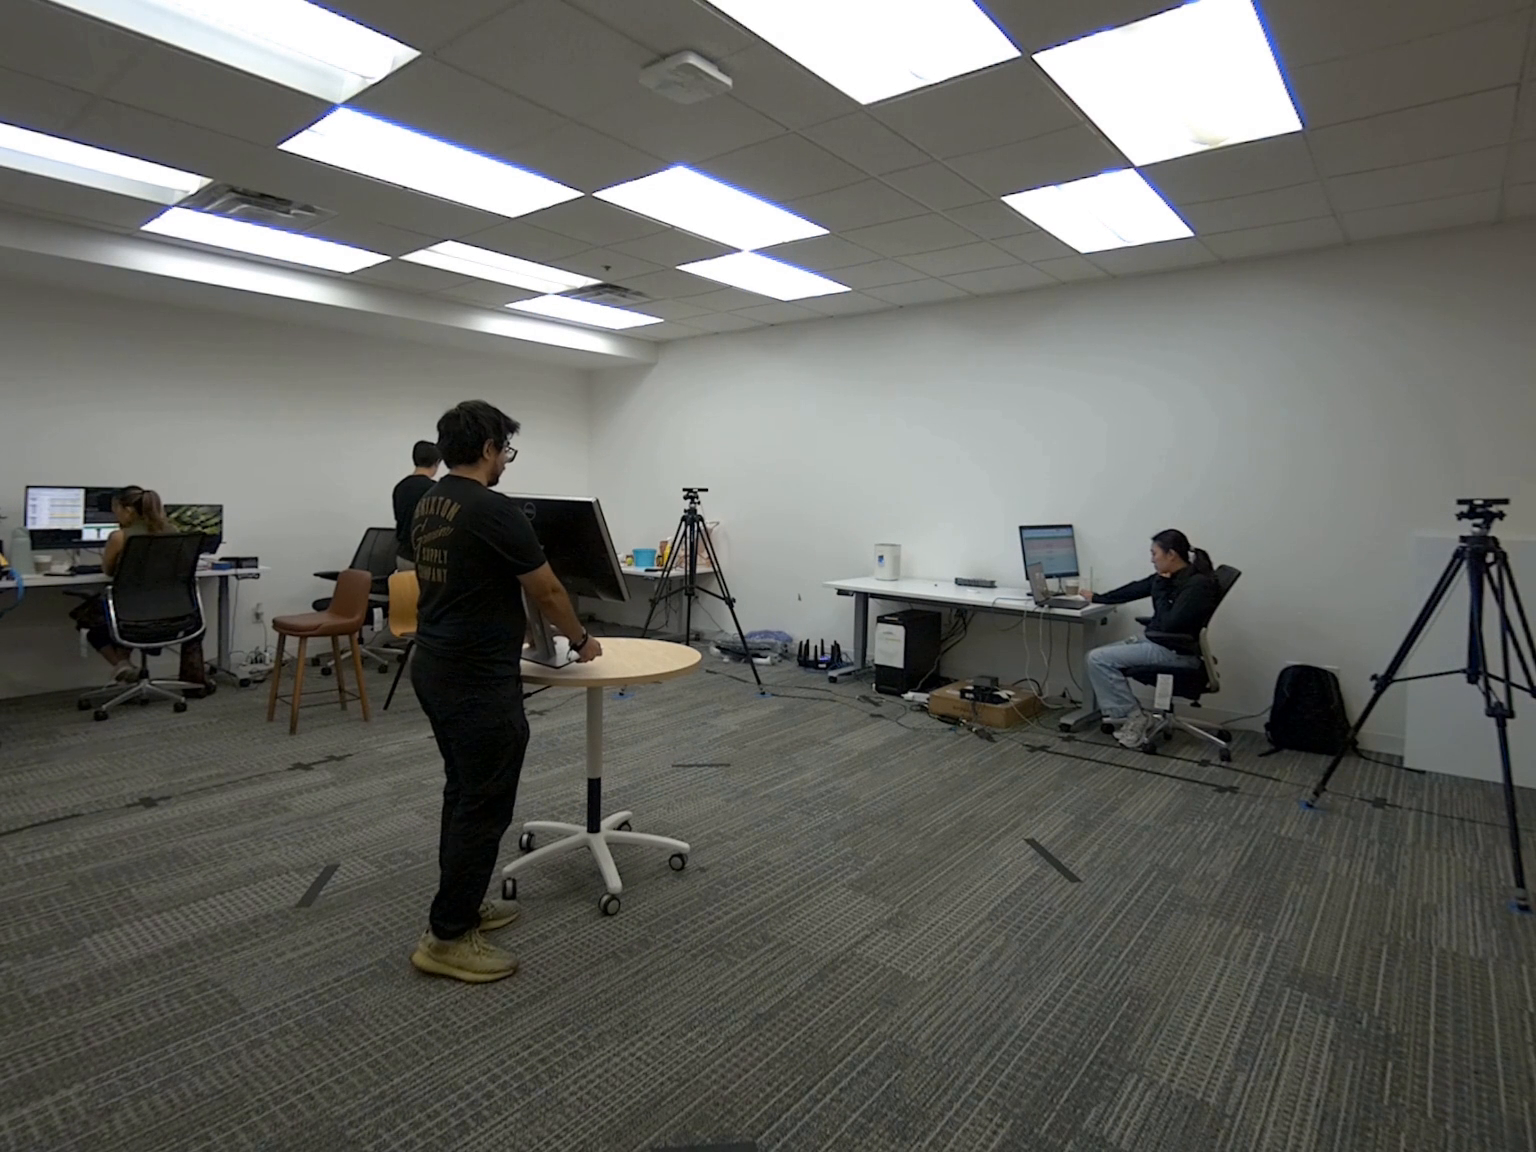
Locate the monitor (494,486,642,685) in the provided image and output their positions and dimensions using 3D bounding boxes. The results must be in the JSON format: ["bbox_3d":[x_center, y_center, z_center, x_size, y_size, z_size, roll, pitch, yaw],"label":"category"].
[{"bbox_3d":[-0.750,0.010,2.763,0.585,0.542,0.208,7,27,38],"label":"monitor"}]
